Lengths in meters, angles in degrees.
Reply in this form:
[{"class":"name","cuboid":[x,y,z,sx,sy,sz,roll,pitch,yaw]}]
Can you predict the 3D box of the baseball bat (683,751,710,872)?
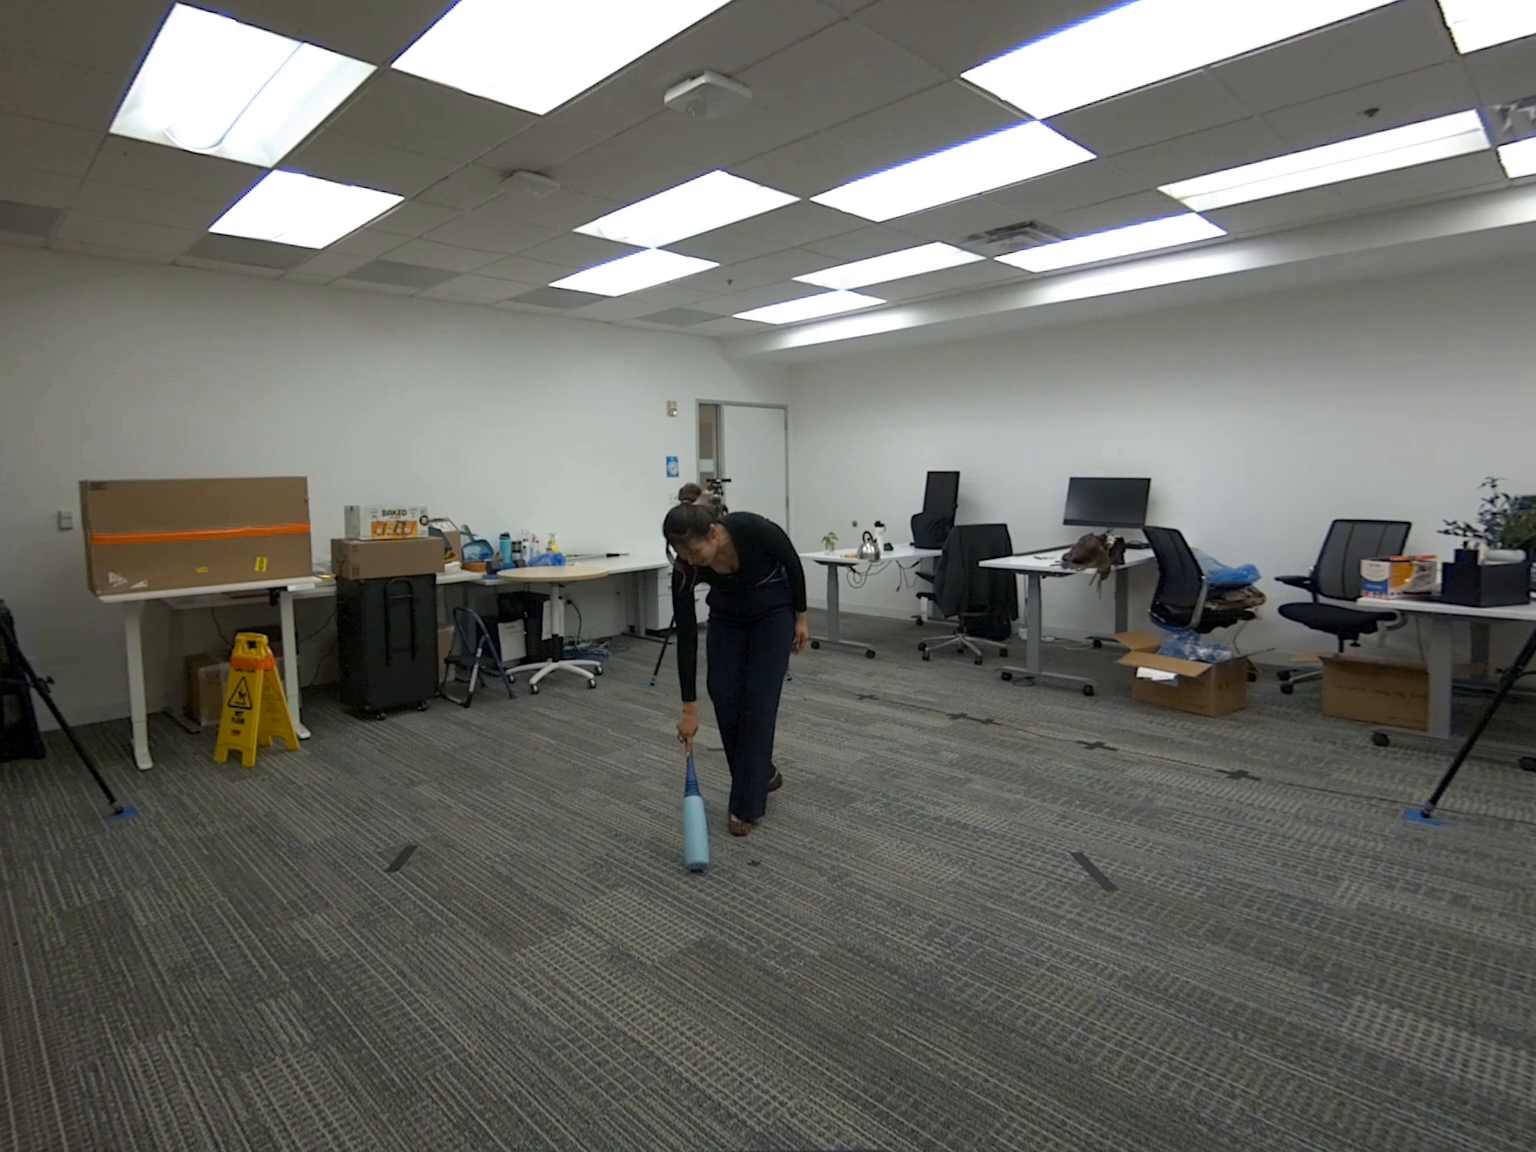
[{"class":"baseball bat","cuboid":[-0.290,0.819,3.195,0.089,0.559,0.087,-5,-37,-6]}]
